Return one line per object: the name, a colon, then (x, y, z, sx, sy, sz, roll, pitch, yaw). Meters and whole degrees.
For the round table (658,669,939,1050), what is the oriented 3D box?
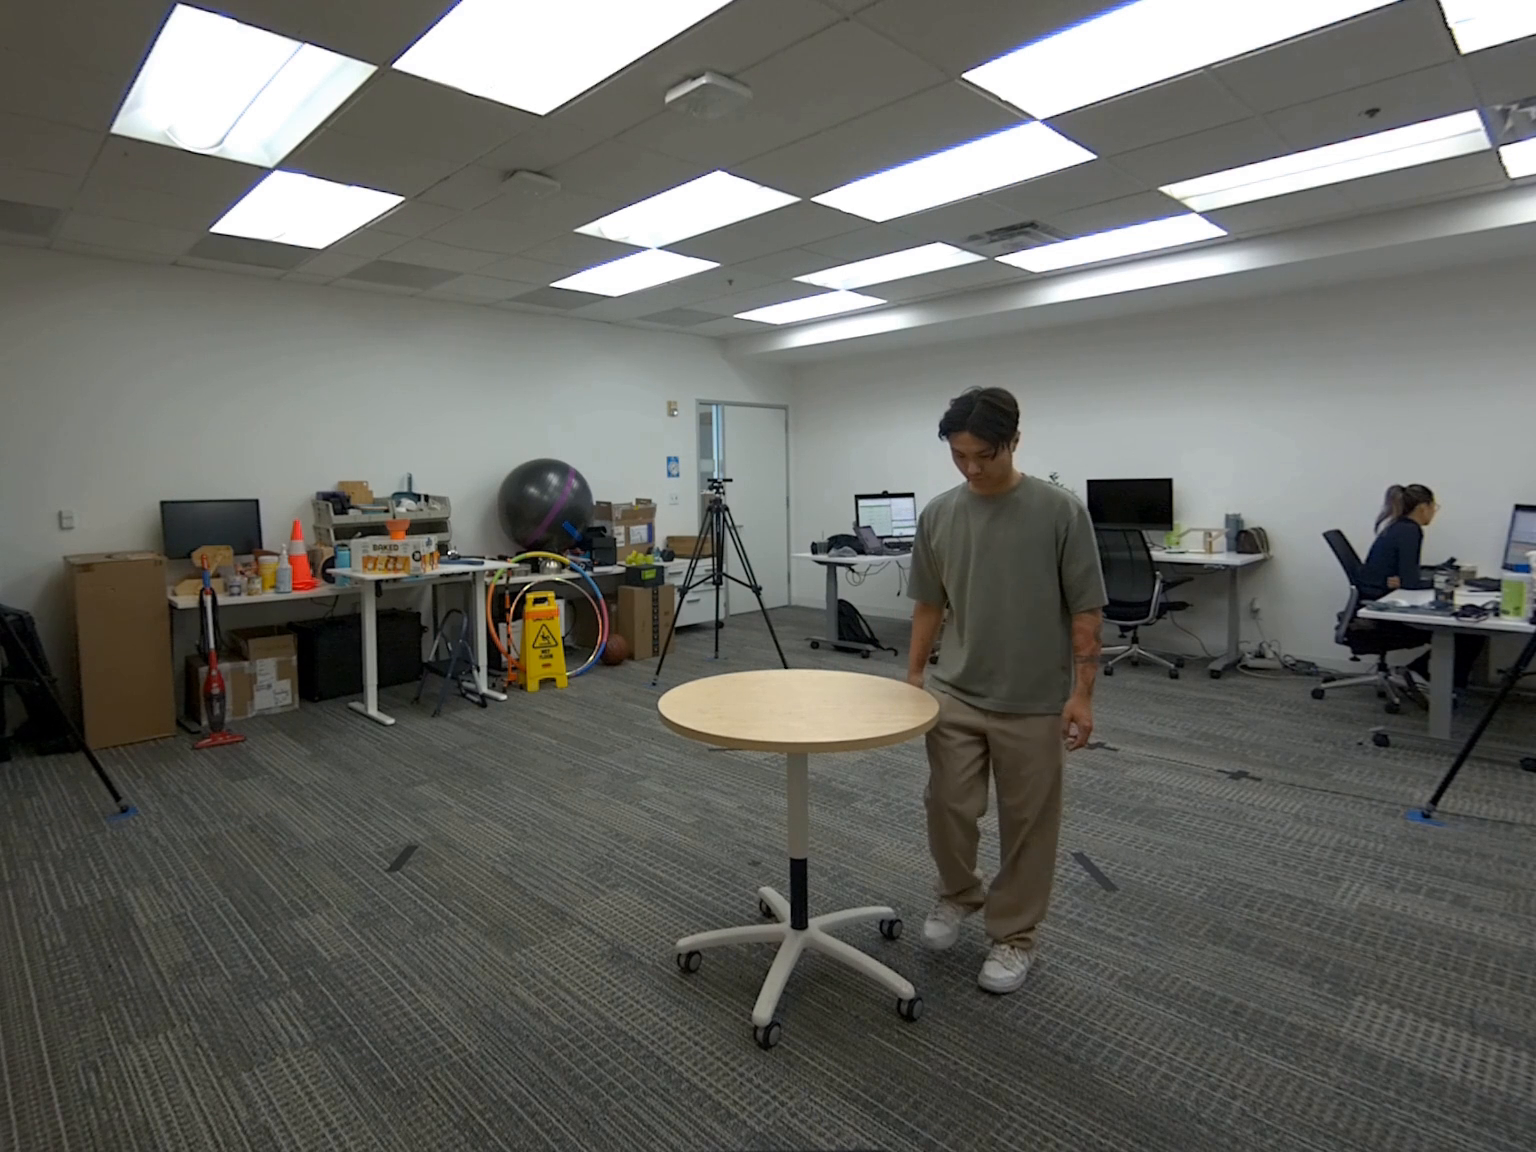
round table: (0.089, 0.728, 2.408, 0.784, 0.783, 0.789, -1, 5, -2)
